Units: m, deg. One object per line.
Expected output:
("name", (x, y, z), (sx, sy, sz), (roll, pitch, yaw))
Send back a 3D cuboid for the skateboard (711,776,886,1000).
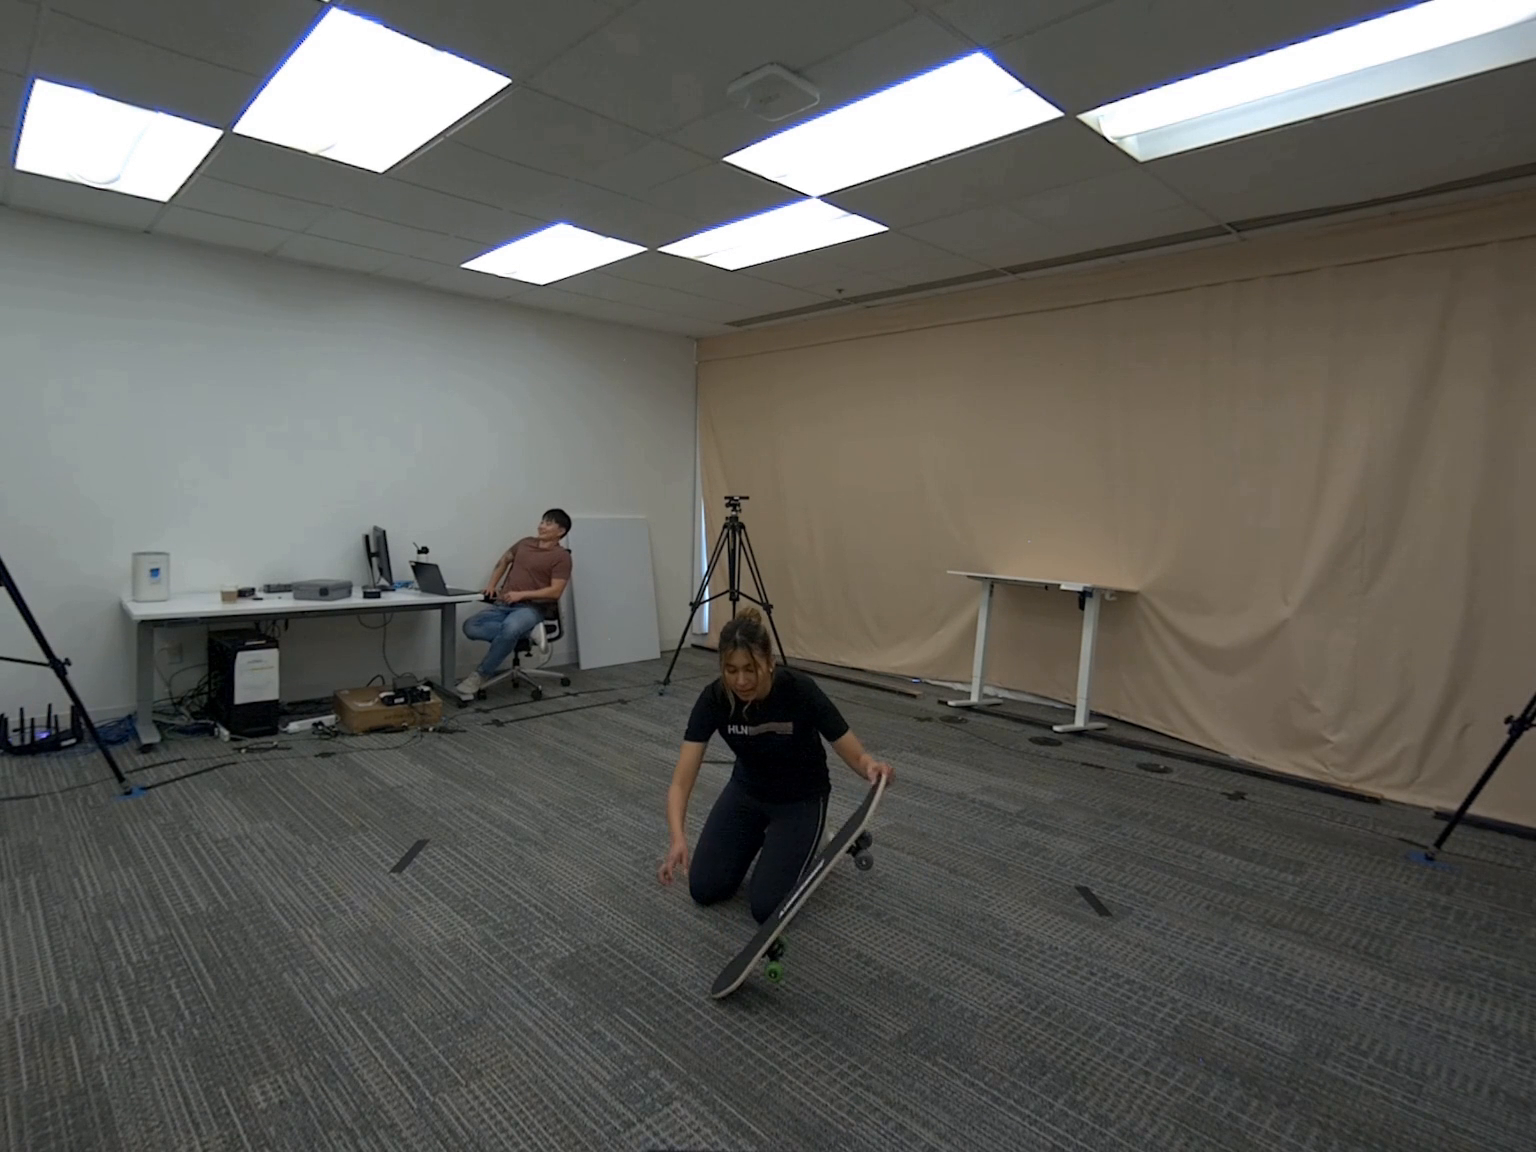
("skateboard", (0.103, 0.888, 2.316), (0.111, 0.785, 0.192), (37, 7, 5))
